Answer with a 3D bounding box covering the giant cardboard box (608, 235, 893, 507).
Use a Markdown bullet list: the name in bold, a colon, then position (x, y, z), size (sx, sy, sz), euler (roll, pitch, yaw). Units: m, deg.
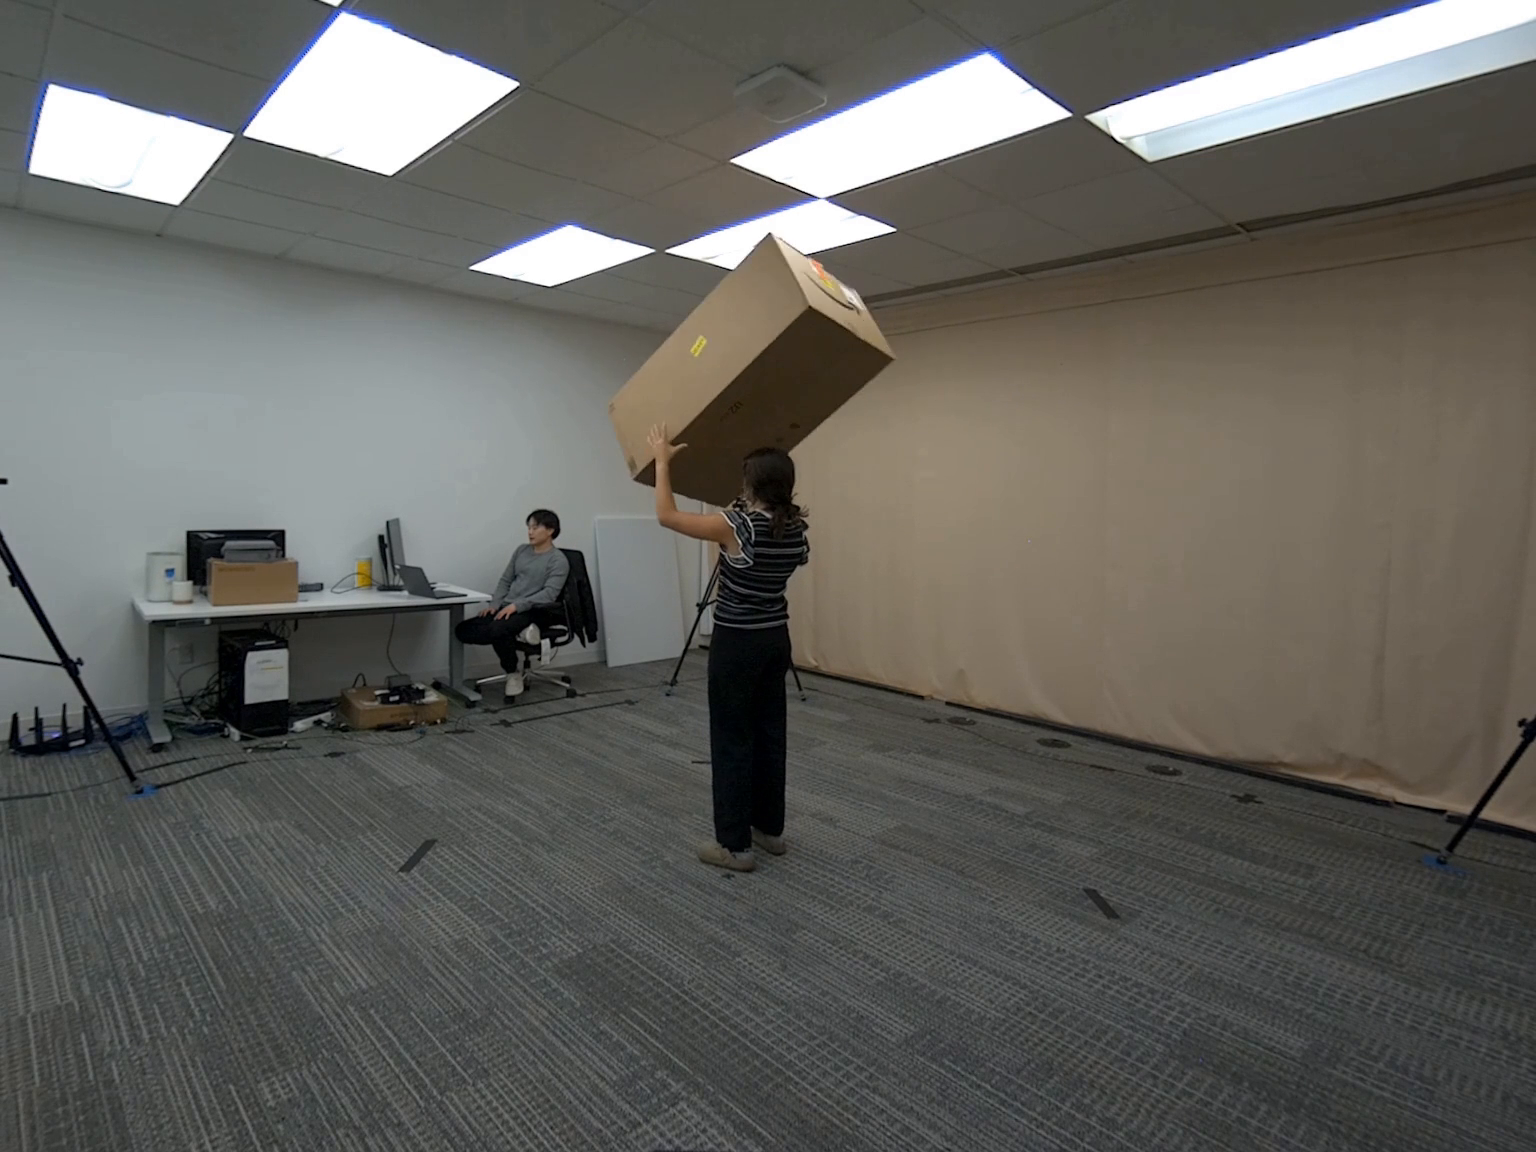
- **giant cardboard box**: position (-0.106, -0.780, 3.472), size (1.029, 0.437, 0.561), euler (-39, -32, 29)
